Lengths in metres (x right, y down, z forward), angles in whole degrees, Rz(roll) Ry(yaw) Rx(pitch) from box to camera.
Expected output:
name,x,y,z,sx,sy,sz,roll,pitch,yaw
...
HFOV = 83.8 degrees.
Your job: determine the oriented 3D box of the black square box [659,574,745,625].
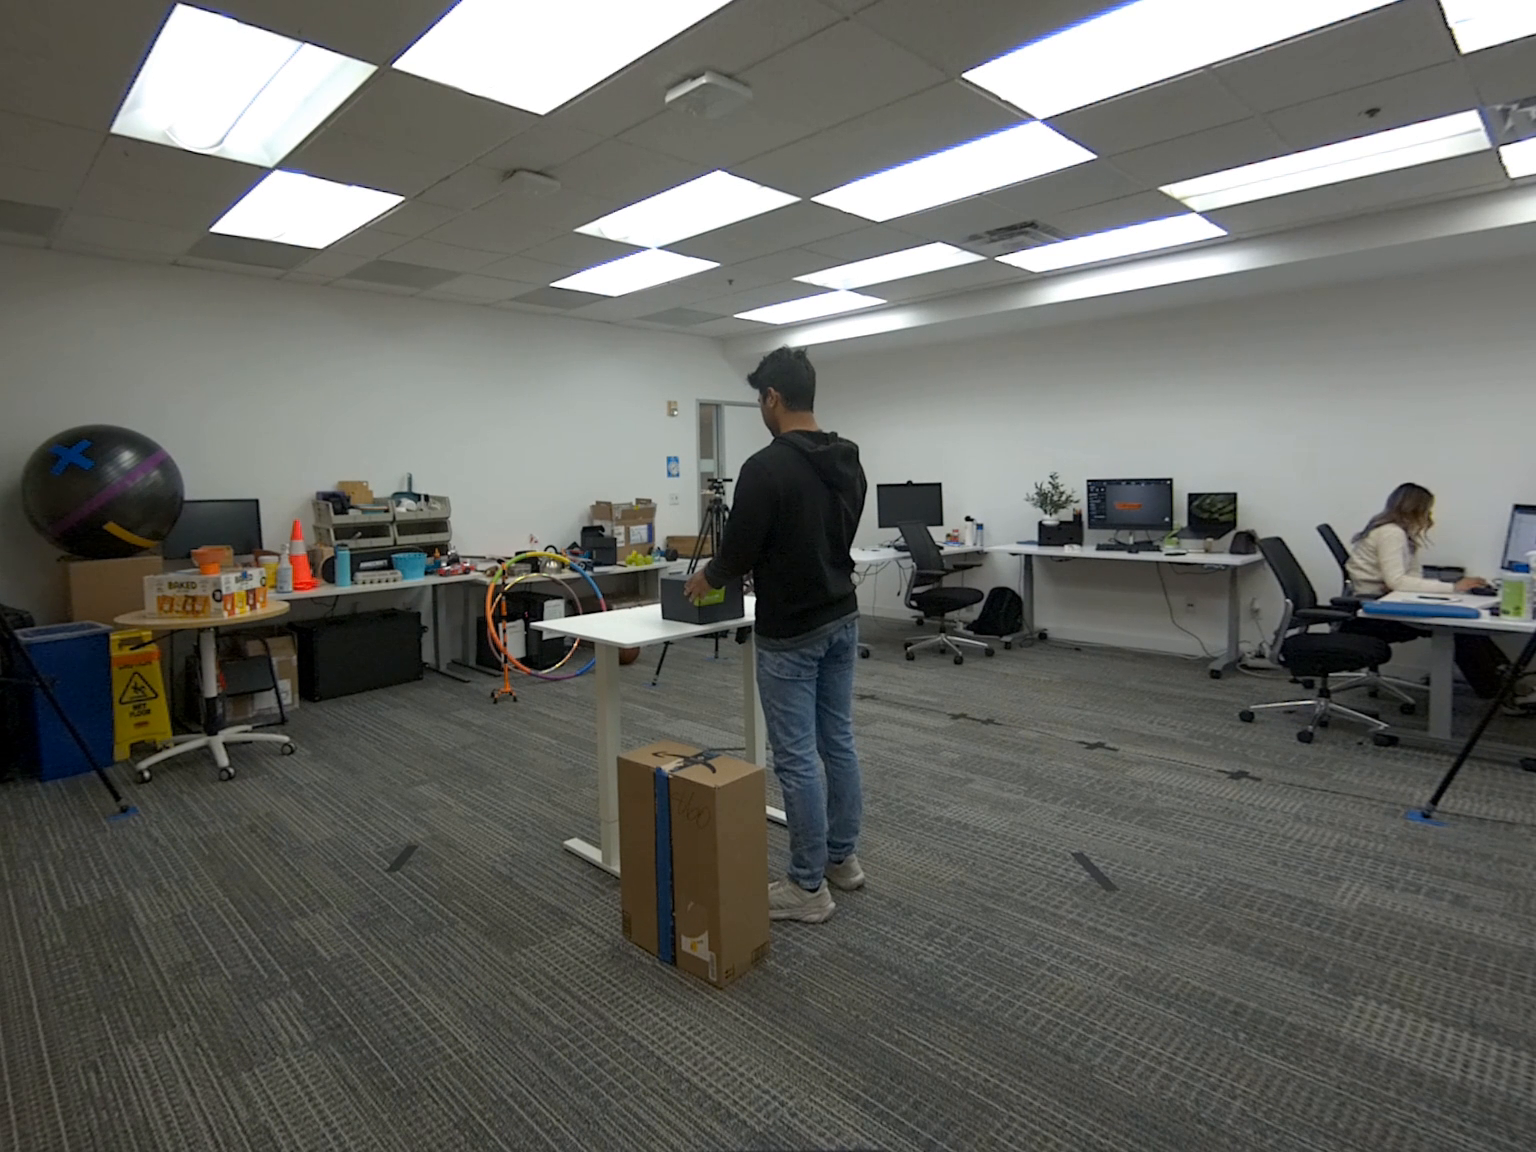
name,x,y,z,sx,sy,sz,roll,pitch,yaw
black square box,-0.243,0.077,3.176,0.222,0.155,0.224,-7,8,-44
